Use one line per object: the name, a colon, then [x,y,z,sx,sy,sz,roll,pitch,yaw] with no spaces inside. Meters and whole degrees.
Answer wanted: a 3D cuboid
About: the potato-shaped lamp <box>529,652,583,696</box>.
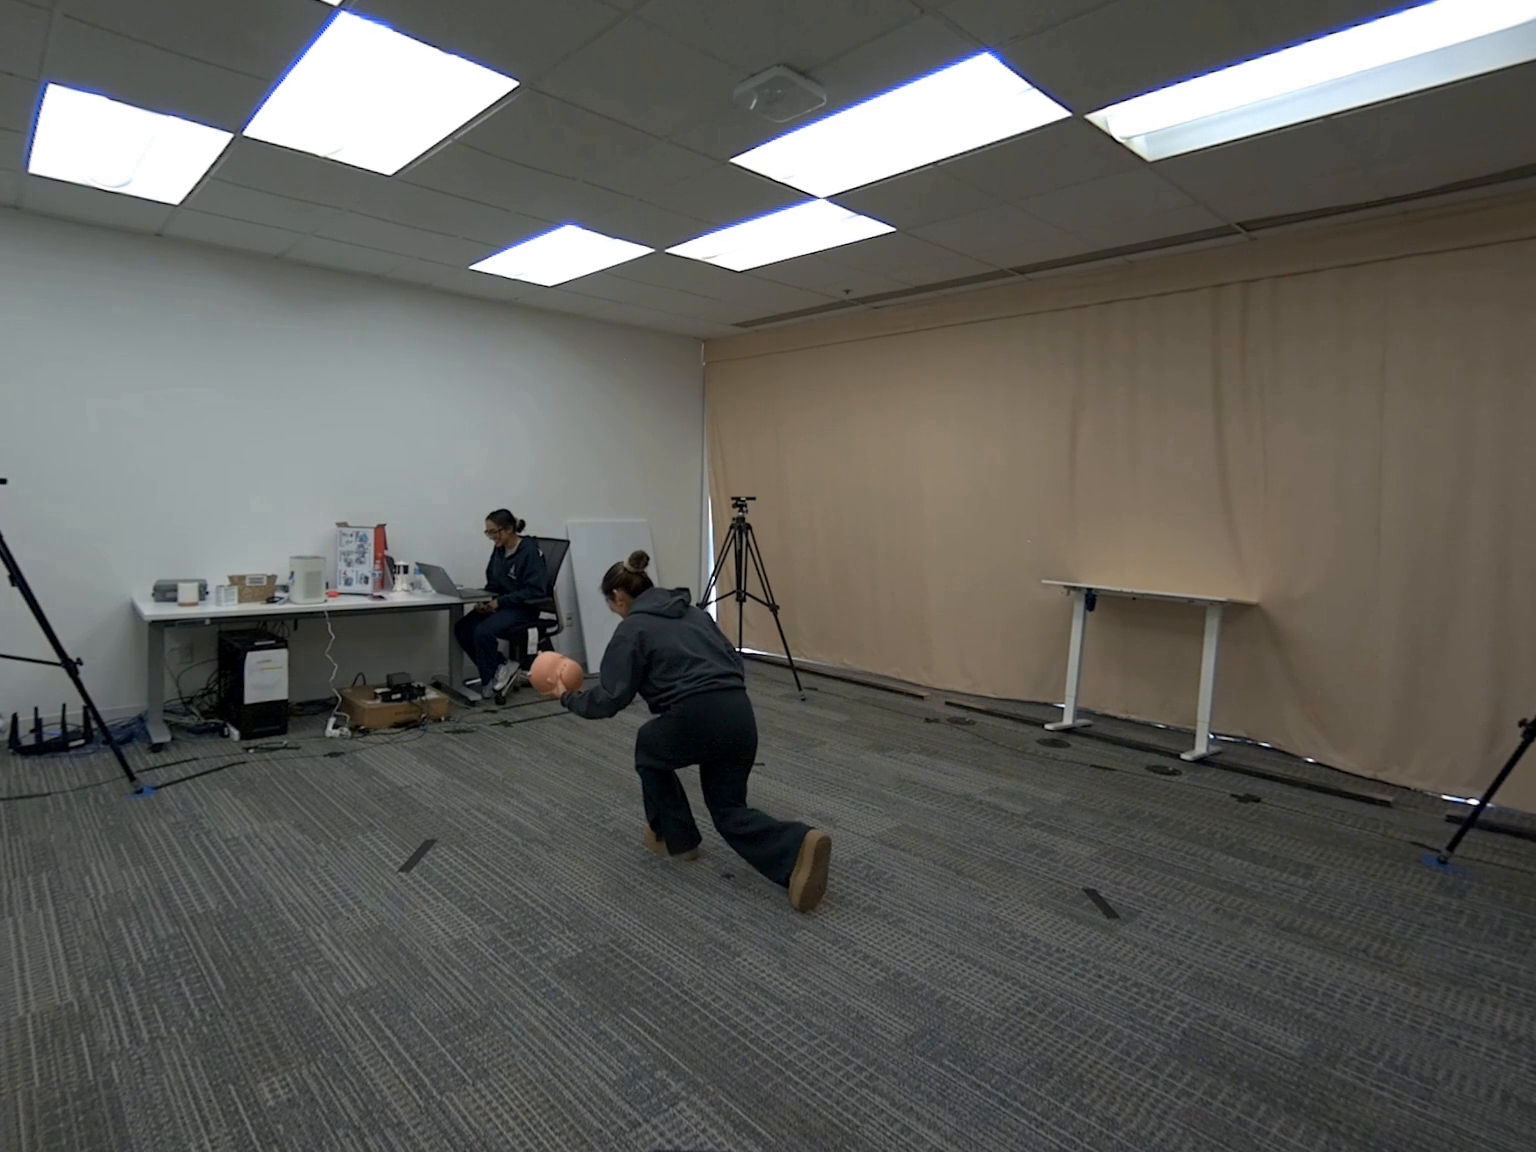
potato-shaped lamp: [-0.839,0.393,3.356,0.201,0.167,0.167,4,47,17]
